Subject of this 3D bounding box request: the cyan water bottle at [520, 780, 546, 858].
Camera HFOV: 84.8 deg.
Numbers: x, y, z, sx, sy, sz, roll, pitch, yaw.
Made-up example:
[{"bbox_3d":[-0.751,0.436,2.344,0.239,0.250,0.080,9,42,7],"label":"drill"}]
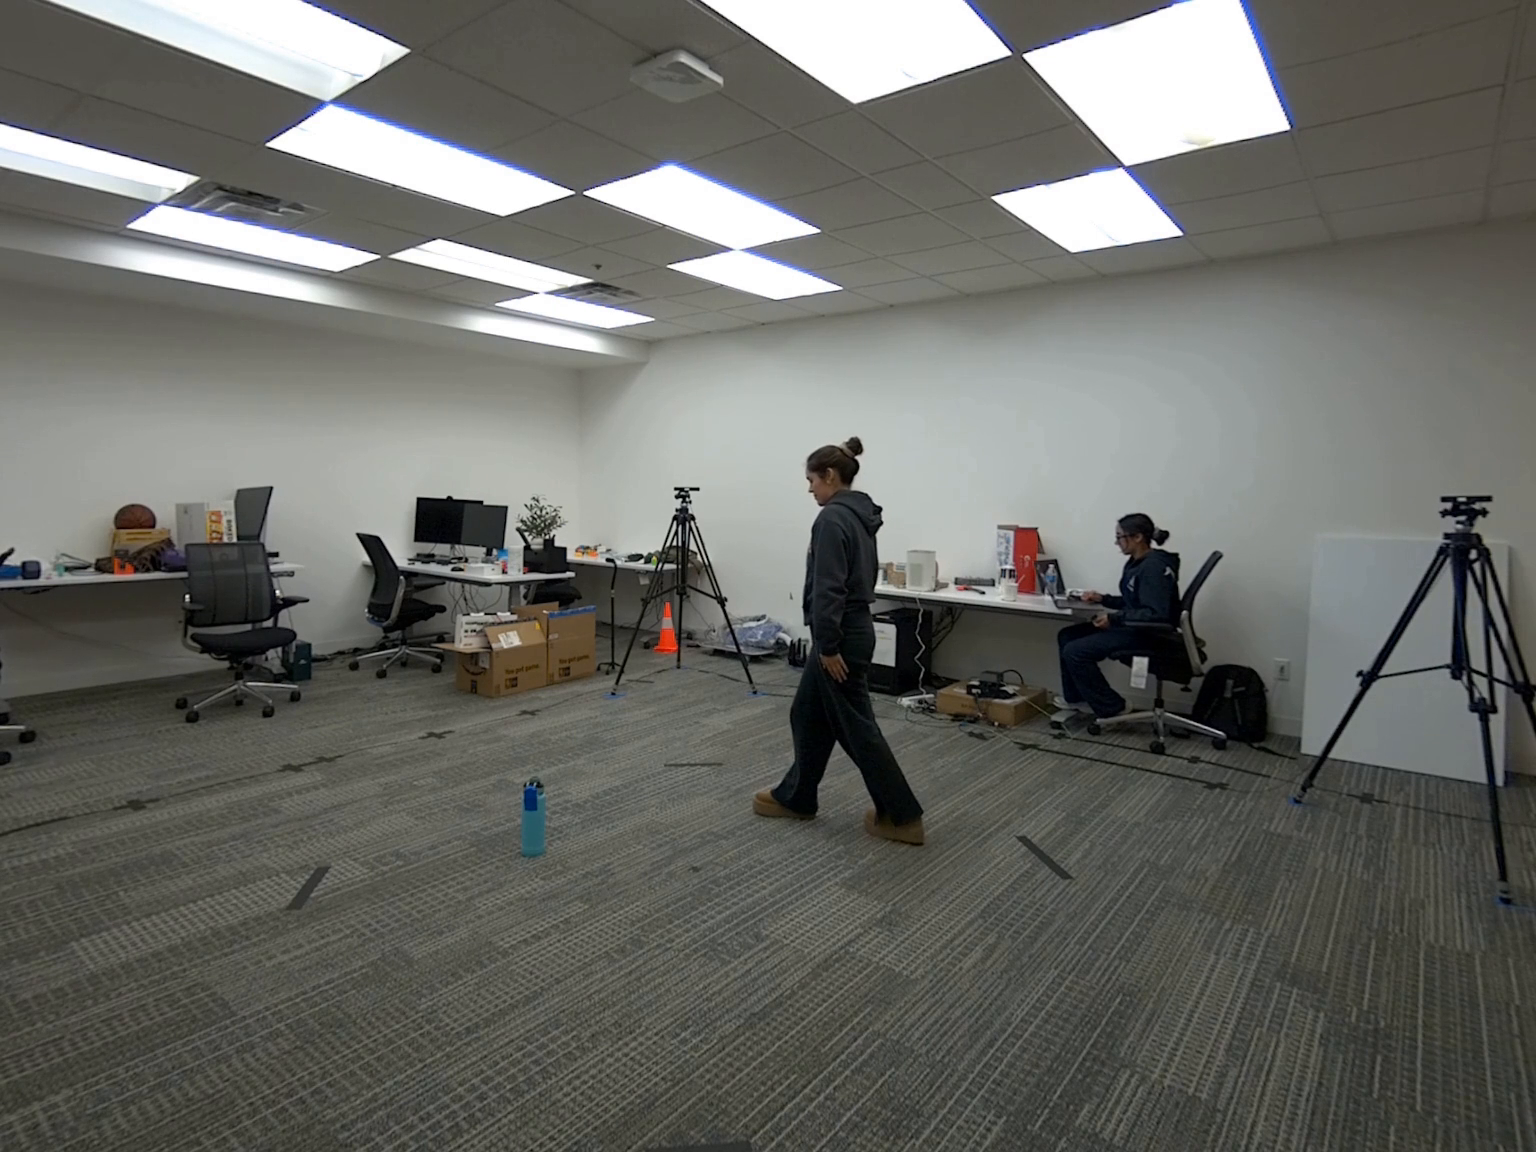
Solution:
[{"bbox_3d":[-0.894,0.910,3.219,0.092,0.282,0.093,1,5,-2],"label":"cyan water bottle"}]
